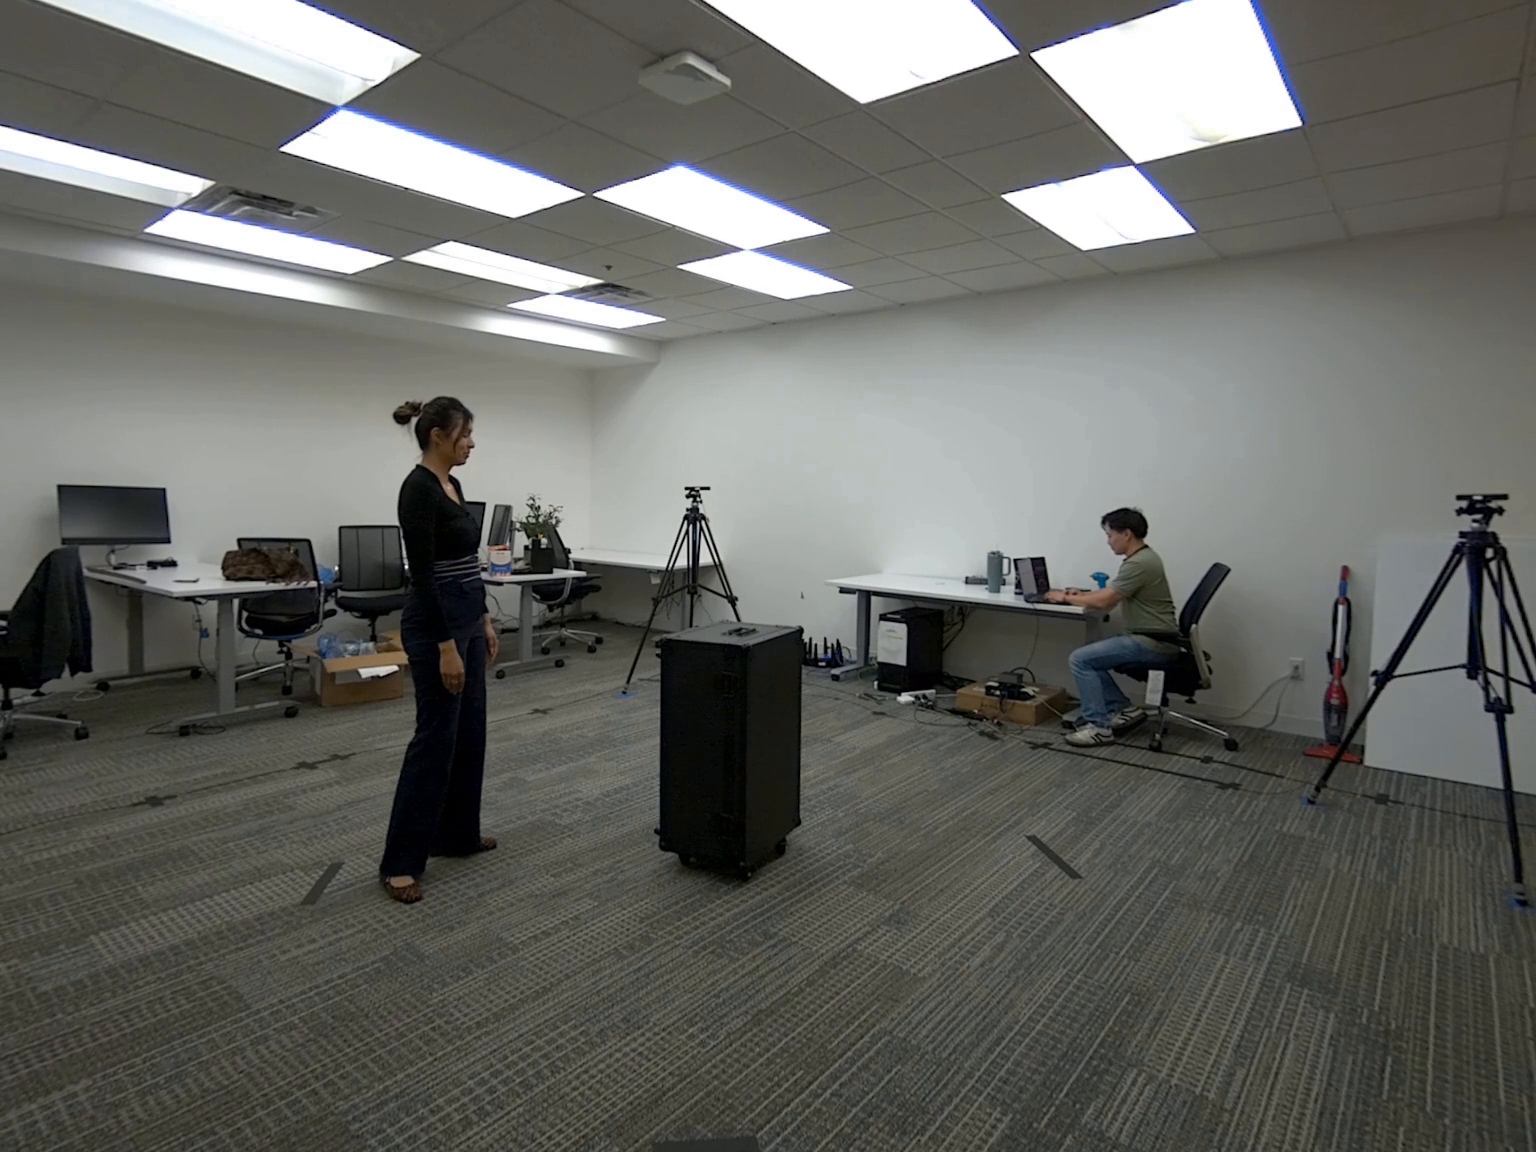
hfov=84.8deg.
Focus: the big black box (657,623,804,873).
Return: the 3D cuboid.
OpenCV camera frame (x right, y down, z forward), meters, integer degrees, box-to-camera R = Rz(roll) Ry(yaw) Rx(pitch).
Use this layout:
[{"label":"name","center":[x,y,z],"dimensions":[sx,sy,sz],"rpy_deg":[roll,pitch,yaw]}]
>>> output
[{"label":"big black box","center":[-0.152,0.636,3.203],"dimensions":[0.407,0.860,0.508],"rpy_deg":[1,3,27]}]
